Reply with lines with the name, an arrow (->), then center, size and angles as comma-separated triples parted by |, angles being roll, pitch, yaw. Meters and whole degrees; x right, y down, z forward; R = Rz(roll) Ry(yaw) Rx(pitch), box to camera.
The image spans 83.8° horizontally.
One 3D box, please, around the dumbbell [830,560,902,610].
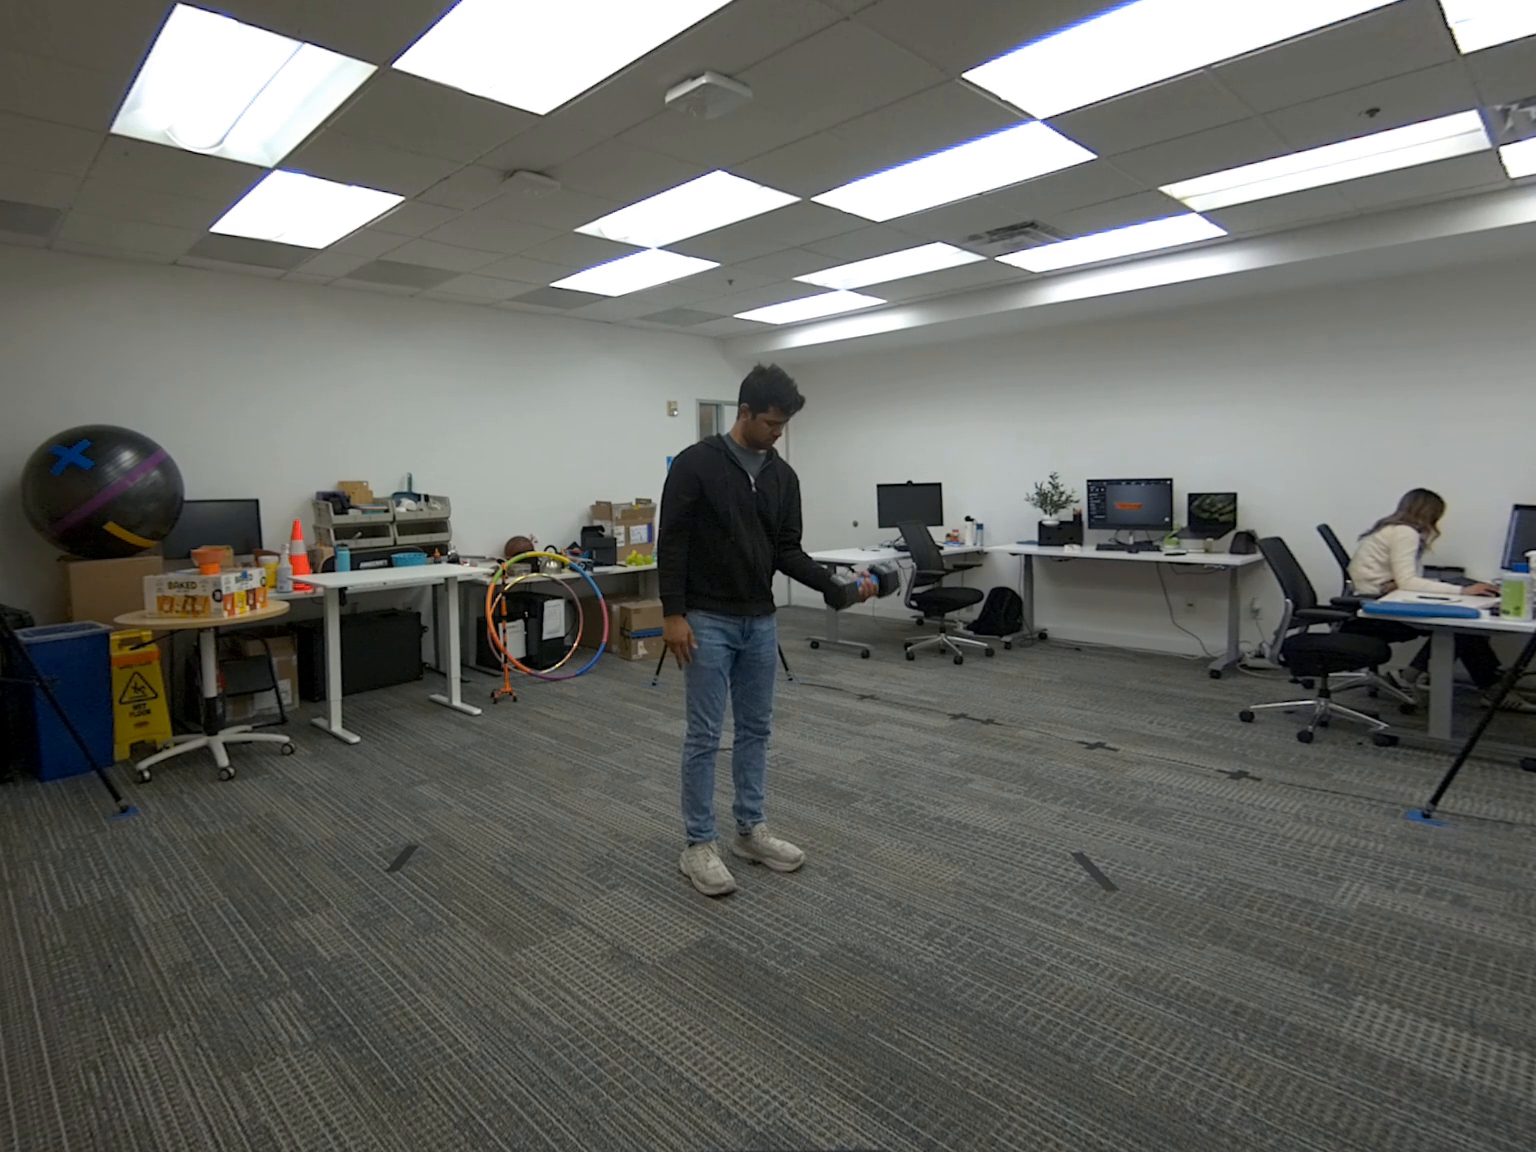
dumbbell -> 0.310, 0.026, 2.940 | 0.287, 0.111, 0.123 | -13, -23, -39
